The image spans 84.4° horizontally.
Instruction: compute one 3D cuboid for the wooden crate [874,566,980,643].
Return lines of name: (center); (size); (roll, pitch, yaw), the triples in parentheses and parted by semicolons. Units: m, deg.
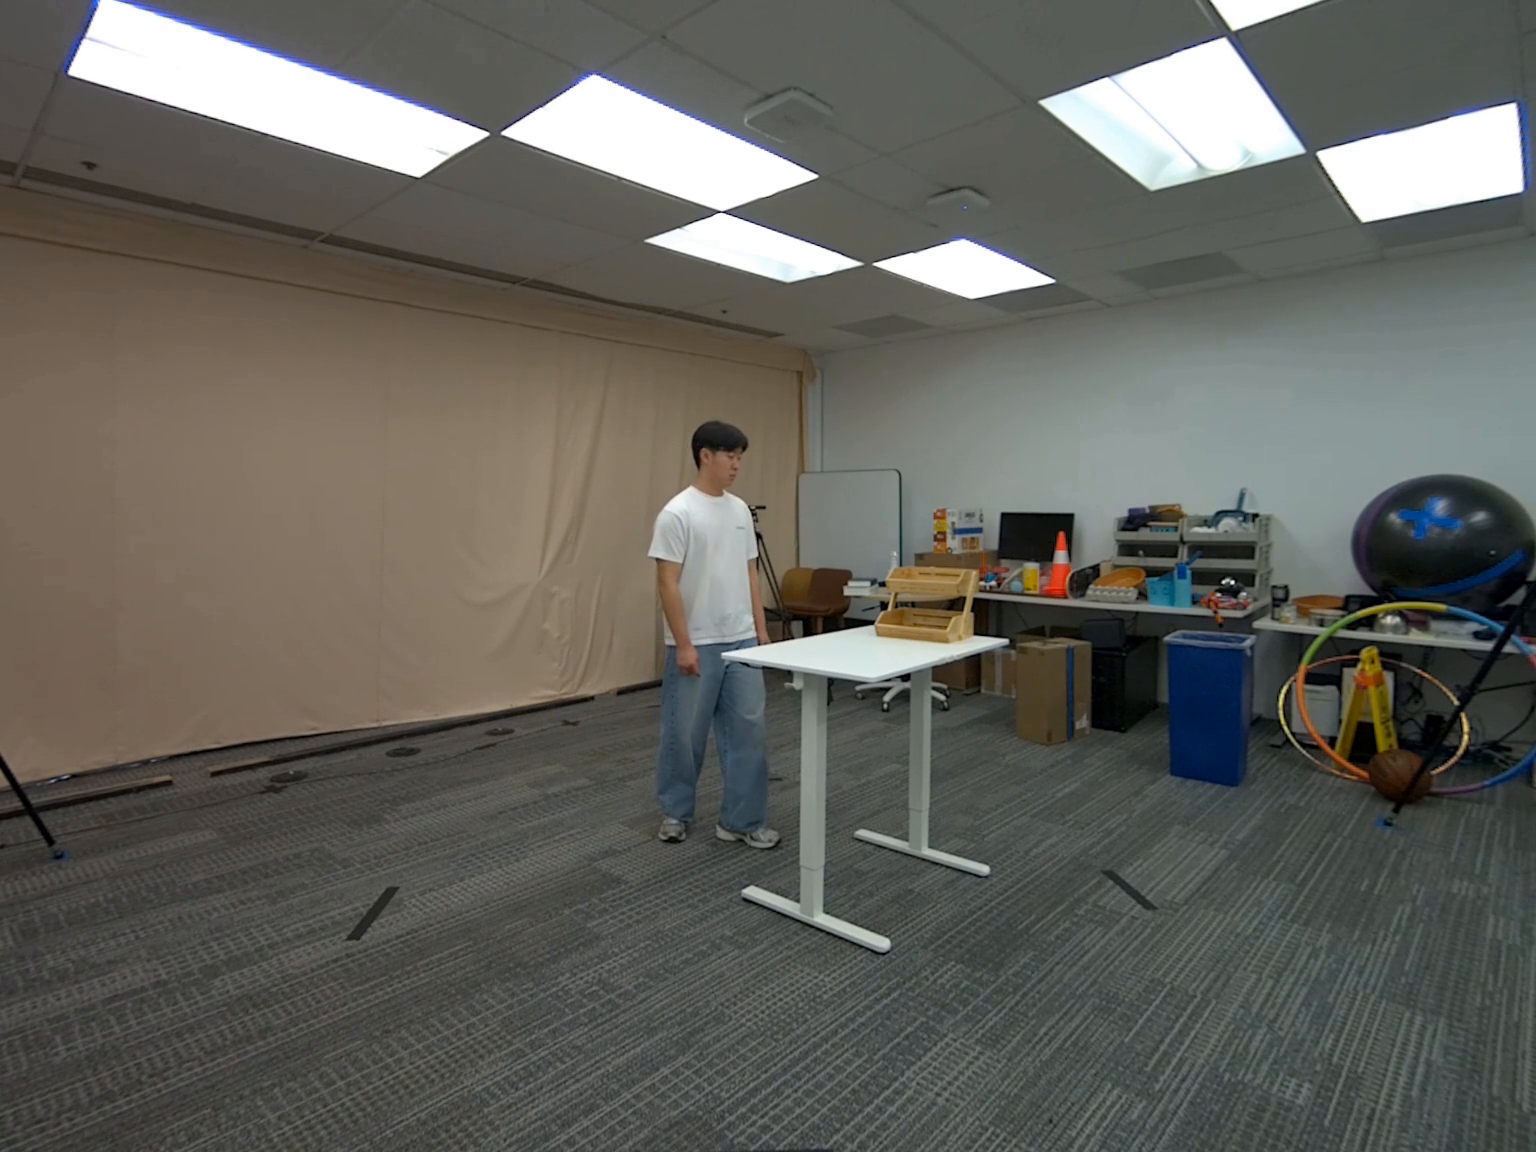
wooden crate: (0.627, 0.103, 3.304); (0.335, 0.273, 0.293); (3, 4, 35)
